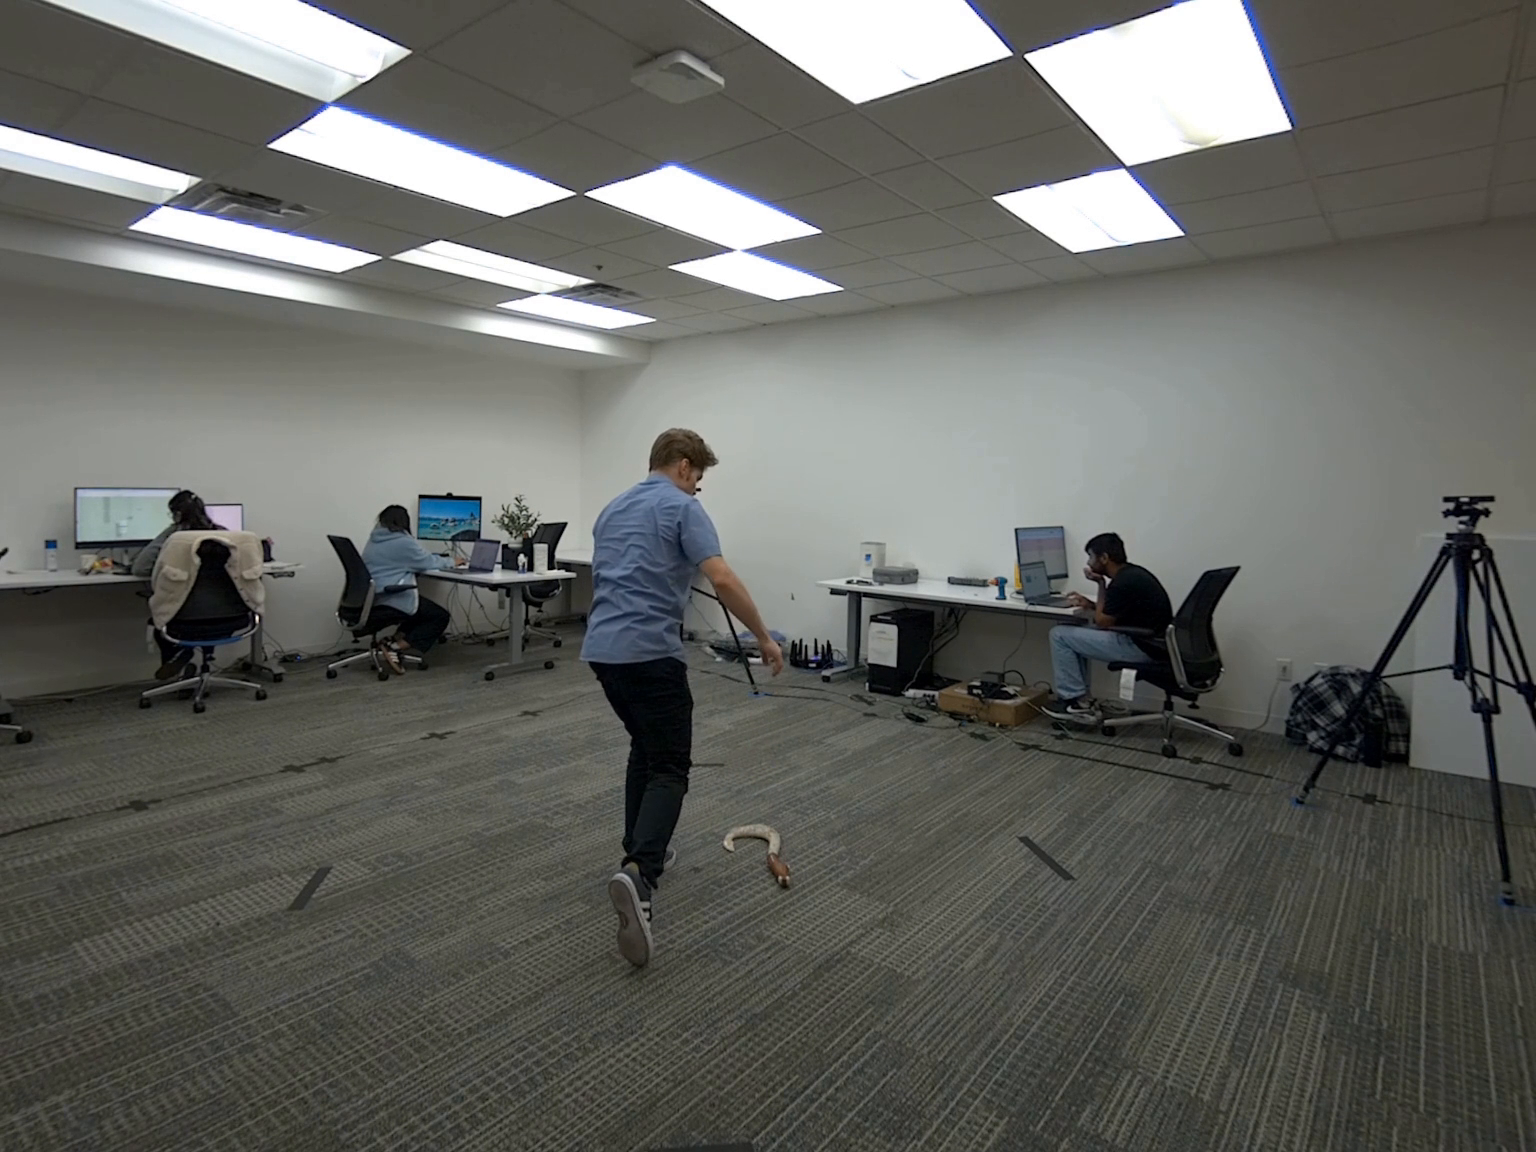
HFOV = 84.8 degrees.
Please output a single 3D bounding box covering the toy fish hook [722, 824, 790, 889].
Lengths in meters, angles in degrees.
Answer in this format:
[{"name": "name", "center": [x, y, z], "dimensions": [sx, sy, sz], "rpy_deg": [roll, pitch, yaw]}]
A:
[{"name": "toy fish hook", "center": [-0.047, 1.046, 3.204], "dimensions": [0.223, 0.048, 0.514], "rpy_deg": [-8, 7, -10]}]
